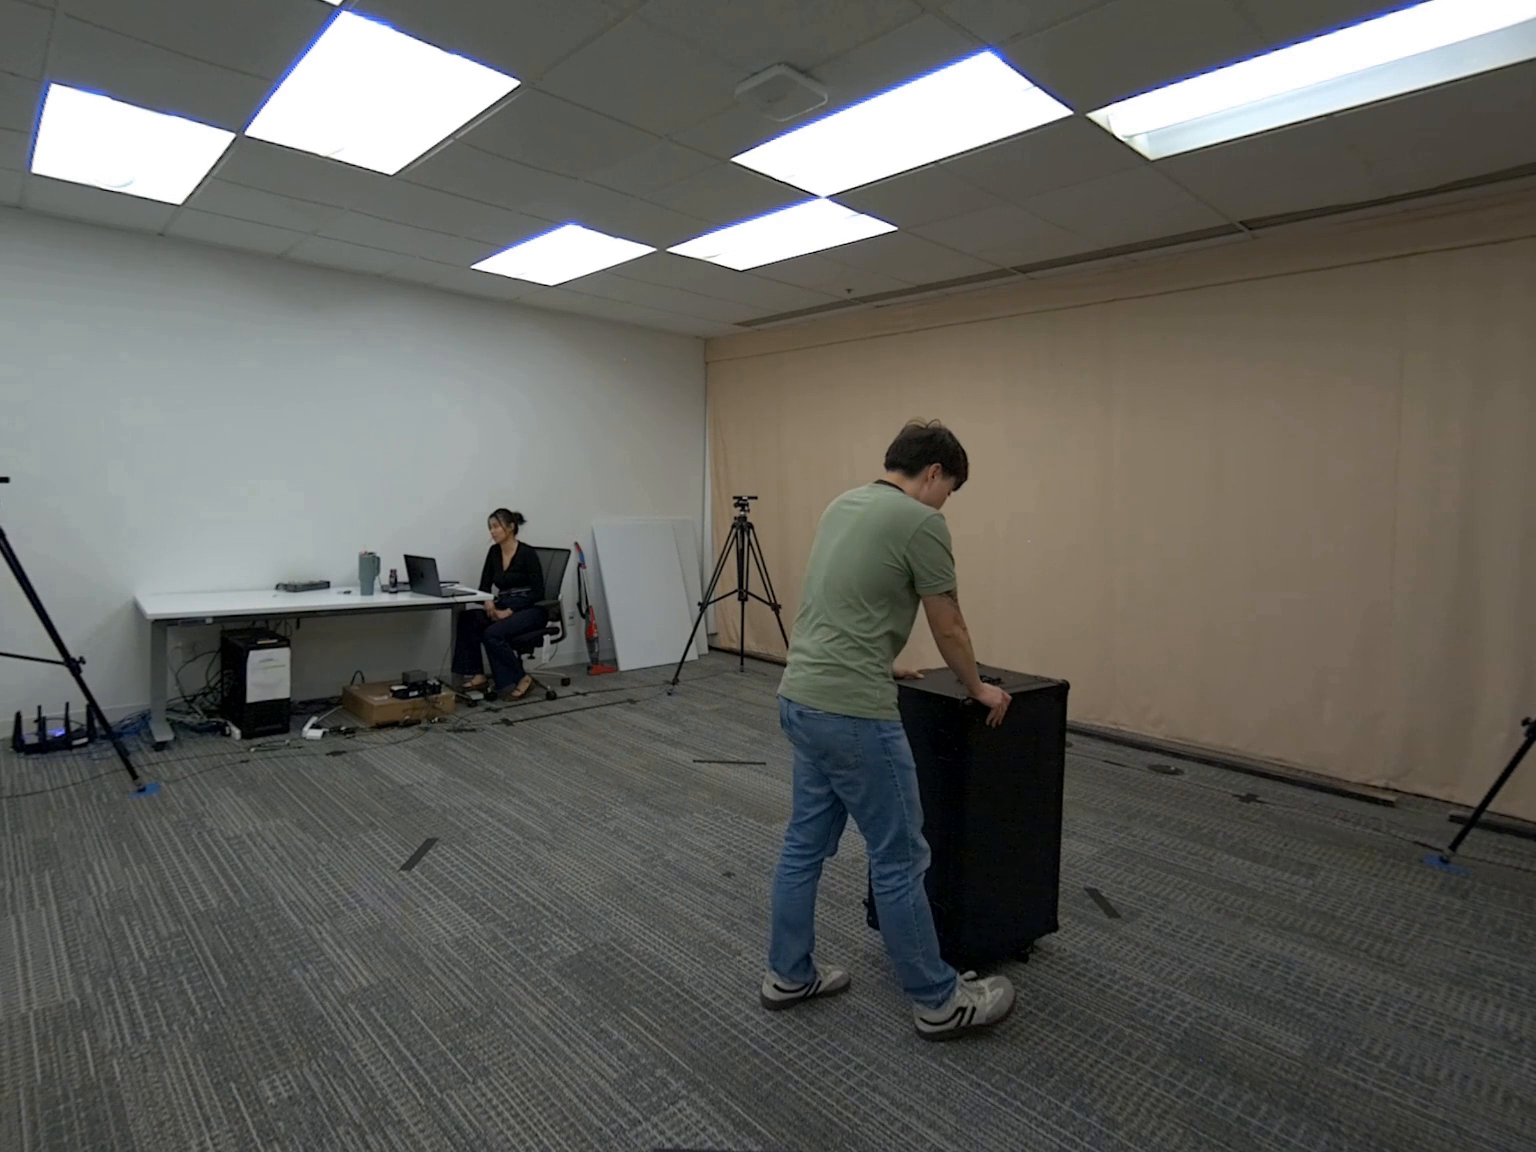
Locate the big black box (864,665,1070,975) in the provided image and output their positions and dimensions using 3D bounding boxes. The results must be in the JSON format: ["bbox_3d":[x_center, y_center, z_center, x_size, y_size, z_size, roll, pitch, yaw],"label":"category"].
[{"bbox_3d":[0.605,0.746,2.608,0.510,0.860,0.406,-1,4,-37],"label":"big black box"}]
